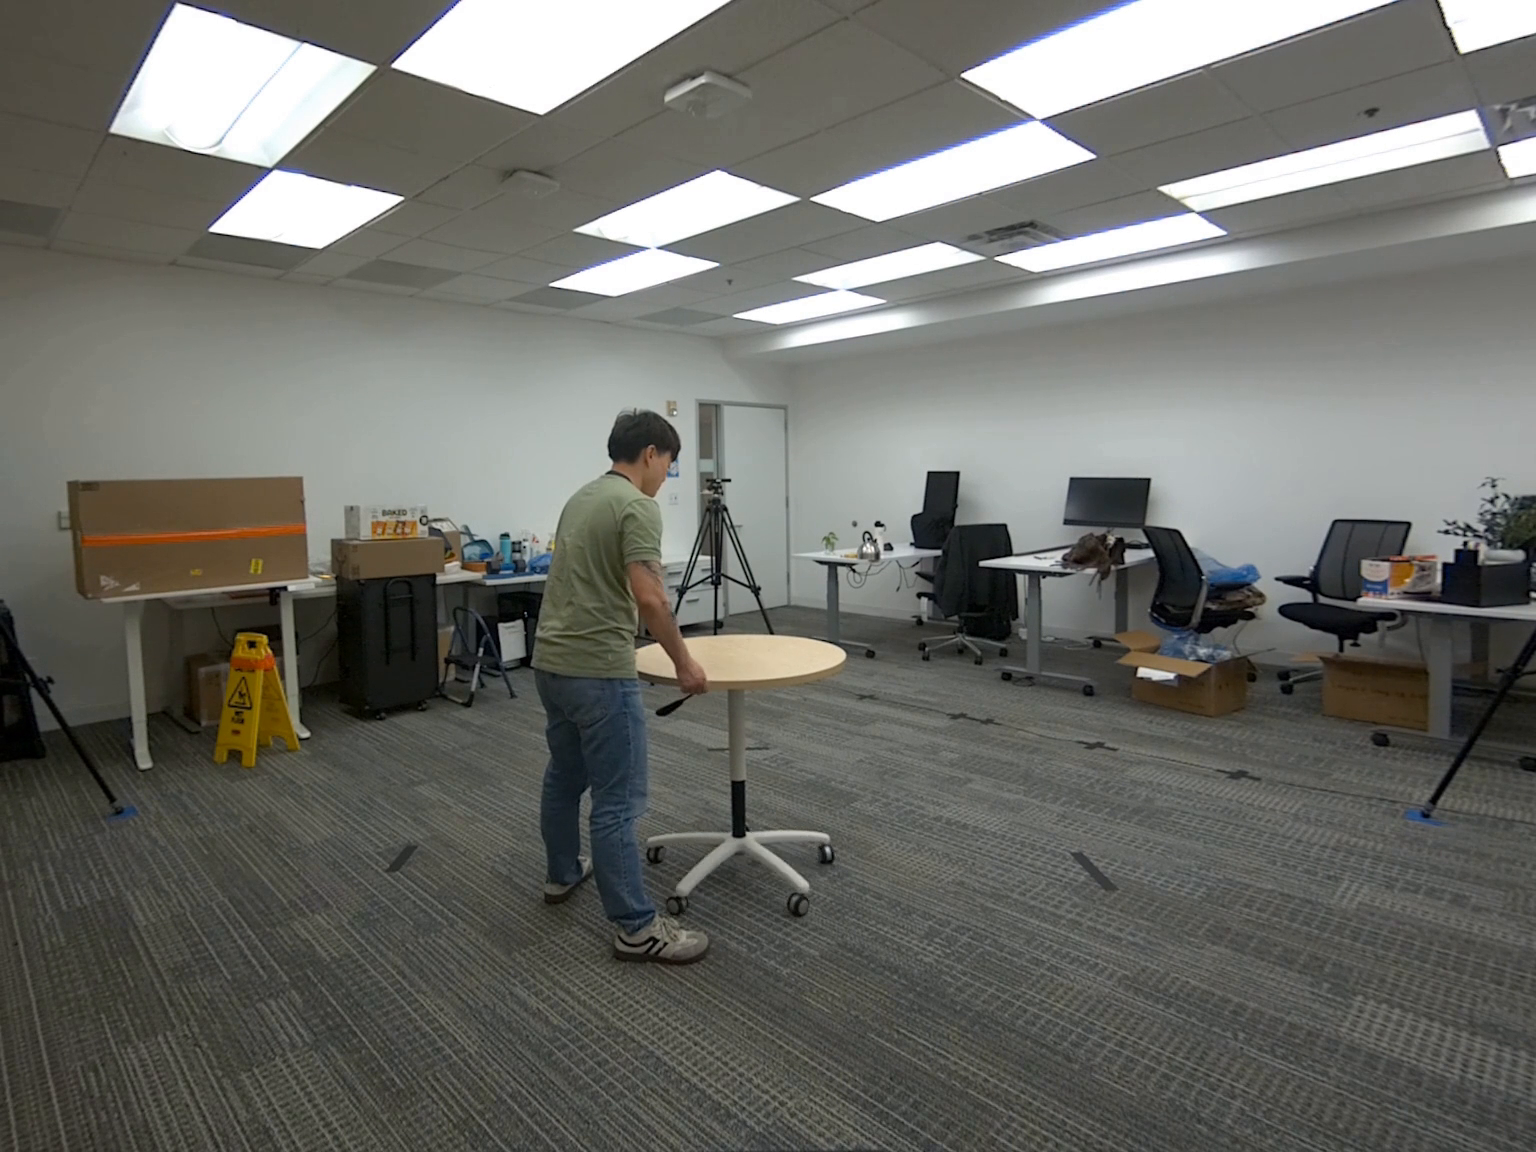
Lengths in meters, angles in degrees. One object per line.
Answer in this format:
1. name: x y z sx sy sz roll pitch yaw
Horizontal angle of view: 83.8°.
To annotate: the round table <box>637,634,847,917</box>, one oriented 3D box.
1. round table: -0.109 0.668 2.998 0.763 0.791 0.768 -2 5 -2
